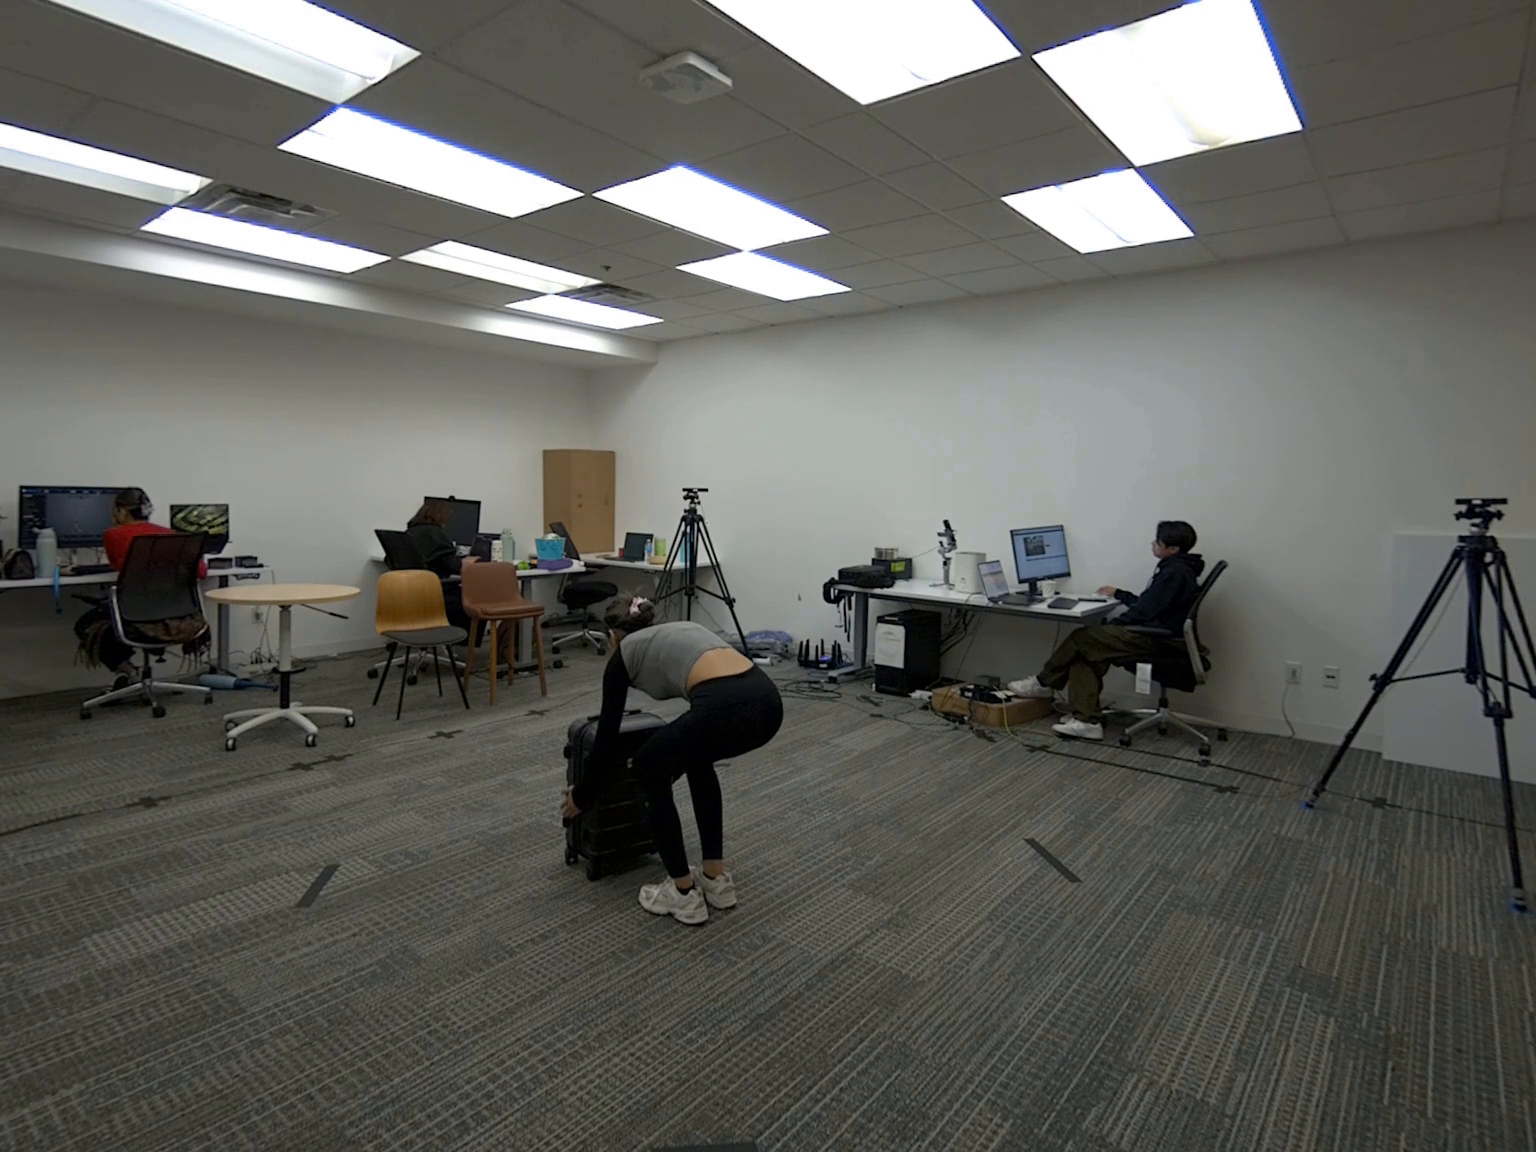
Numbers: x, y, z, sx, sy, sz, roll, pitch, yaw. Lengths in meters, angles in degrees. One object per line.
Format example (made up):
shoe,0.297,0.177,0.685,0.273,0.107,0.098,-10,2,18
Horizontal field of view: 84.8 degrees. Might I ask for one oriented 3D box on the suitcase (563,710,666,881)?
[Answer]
suitcase,-0.567,0.782,3.155,0.364,0.548,0.256,-1,3,-37
